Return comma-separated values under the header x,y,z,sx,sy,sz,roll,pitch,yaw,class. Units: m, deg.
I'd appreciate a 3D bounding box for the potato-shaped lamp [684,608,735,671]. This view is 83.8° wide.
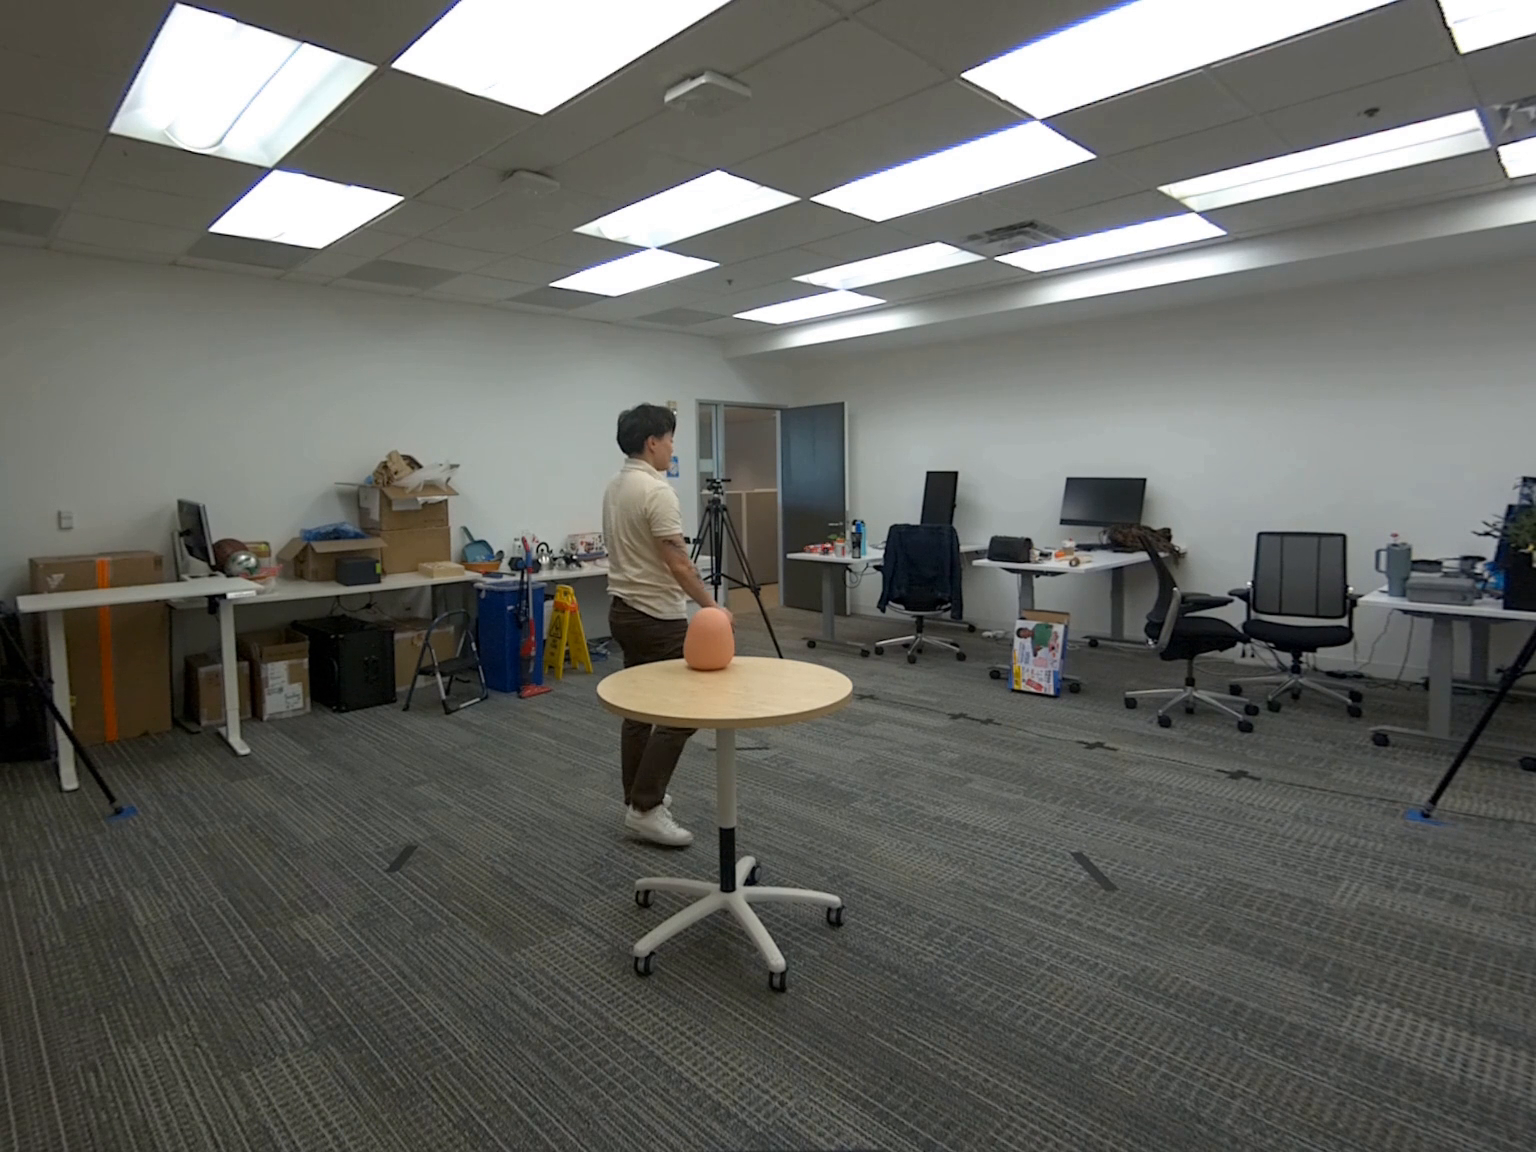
x,y,z,sx,sy,sz,roll,pitch,yaw,class
-0.187,0.202,2.779,0.163,0.197,0.174,-2,6,-11,potato-shaped lamp
